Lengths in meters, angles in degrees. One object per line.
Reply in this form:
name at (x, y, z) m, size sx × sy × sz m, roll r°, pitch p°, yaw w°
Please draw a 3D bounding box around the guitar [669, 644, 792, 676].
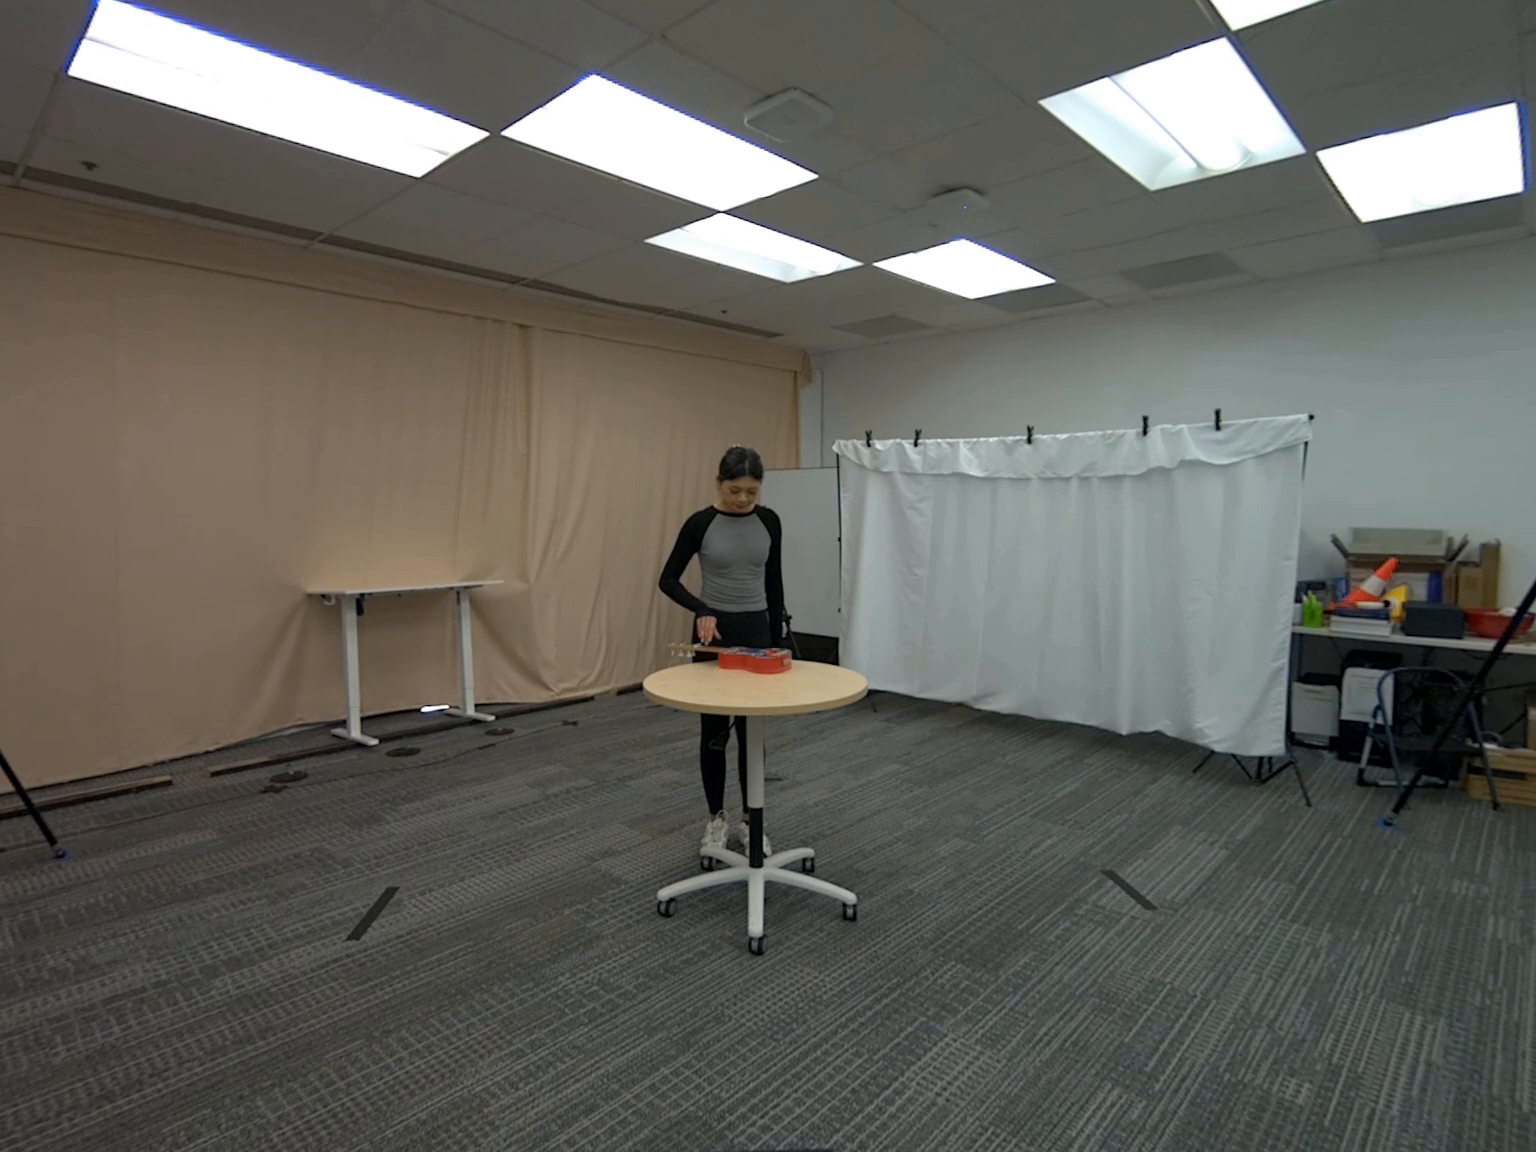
guitar at (-0.142, 0.298, 3.190) m, size 0.513 × 0.070 × 0.188 m, roll 3°, pitch 8°, yaw 35°
